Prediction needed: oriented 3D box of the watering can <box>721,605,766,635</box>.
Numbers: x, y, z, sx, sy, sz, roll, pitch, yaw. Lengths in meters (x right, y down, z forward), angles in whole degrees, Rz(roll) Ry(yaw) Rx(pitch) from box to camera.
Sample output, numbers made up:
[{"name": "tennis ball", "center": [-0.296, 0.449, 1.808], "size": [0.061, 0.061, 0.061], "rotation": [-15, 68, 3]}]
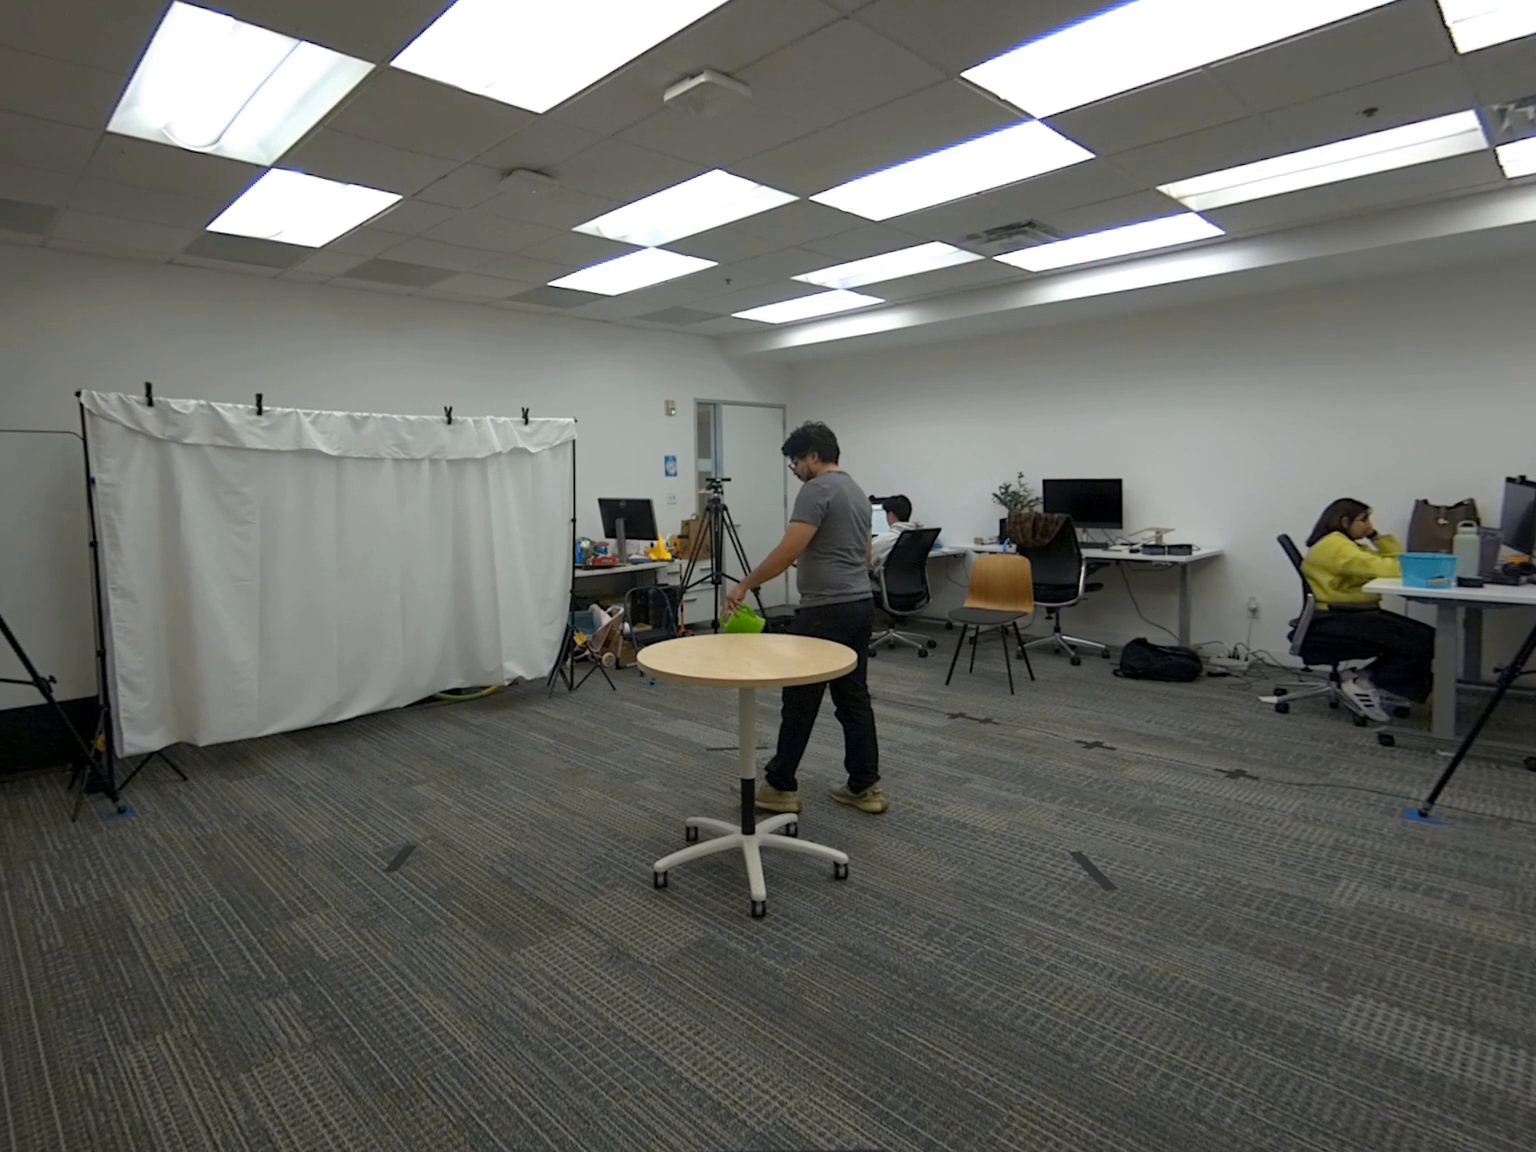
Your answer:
[{"name": "watering can", "center": [-0.134, 0.225, 3.619], "size": [0.175, 0.277, 0.099], "rotation": [30, 40, -10]}]
